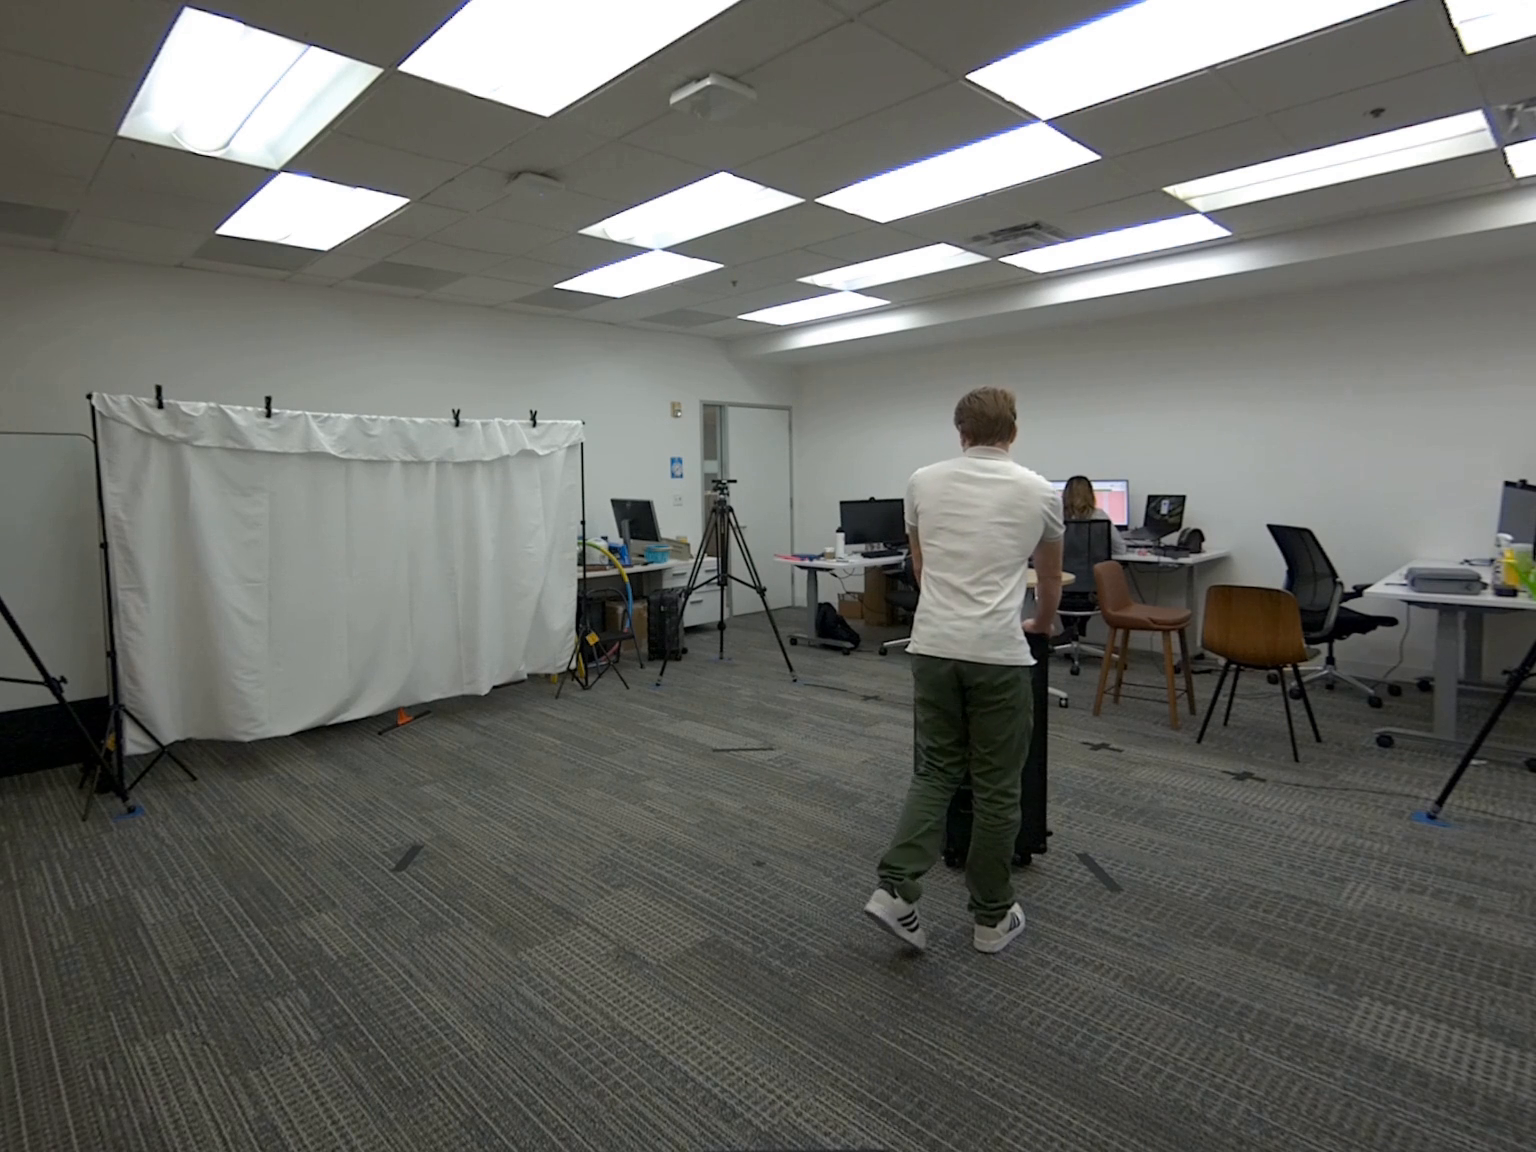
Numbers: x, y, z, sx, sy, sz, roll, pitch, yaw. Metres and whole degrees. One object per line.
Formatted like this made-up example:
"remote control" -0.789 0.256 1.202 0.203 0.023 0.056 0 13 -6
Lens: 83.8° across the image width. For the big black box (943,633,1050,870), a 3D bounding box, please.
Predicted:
"big black box" 0.790 0.597 3.205 0.384 0.866 0.526 -2 4 -3
